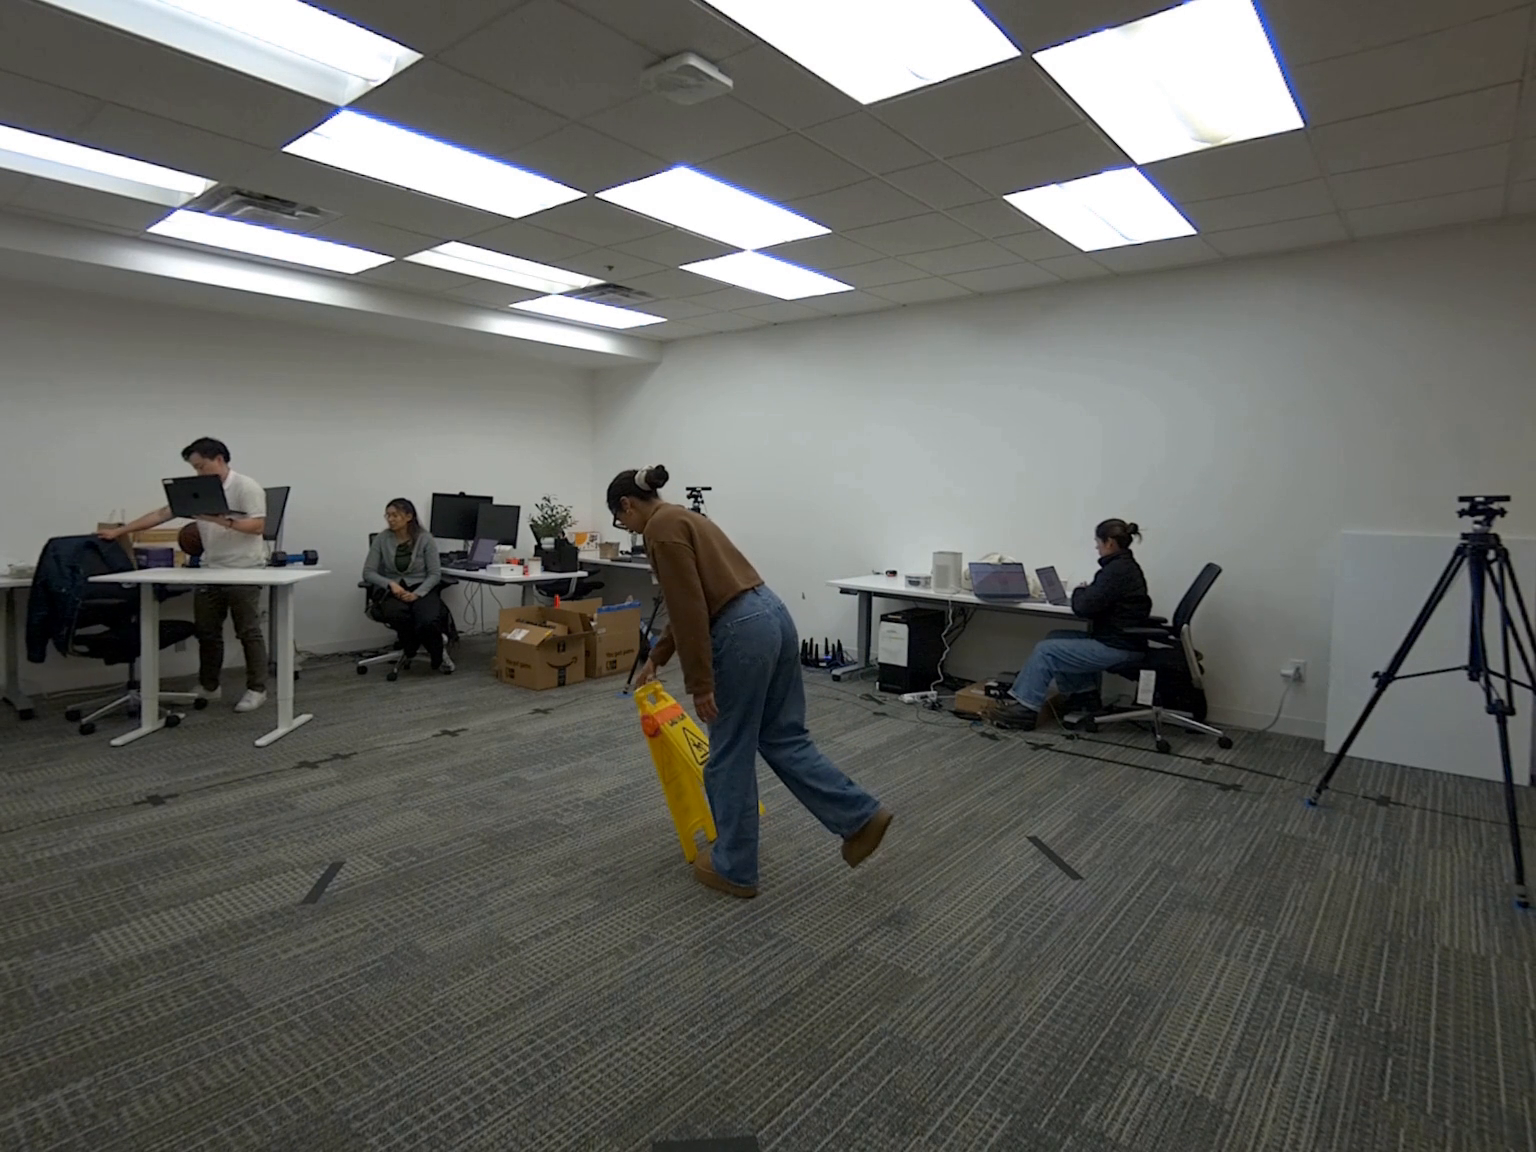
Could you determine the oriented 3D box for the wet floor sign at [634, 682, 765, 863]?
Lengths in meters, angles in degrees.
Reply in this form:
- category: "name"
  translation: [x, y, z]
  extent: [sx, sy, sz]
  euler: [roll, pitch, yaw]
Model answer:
- category: "wet floor sign"
  translation: [-0.325, 0.709, 3.286]
  extent: [0.291, 0.654, 0.277]
  euler: [-34, -8, 18]
